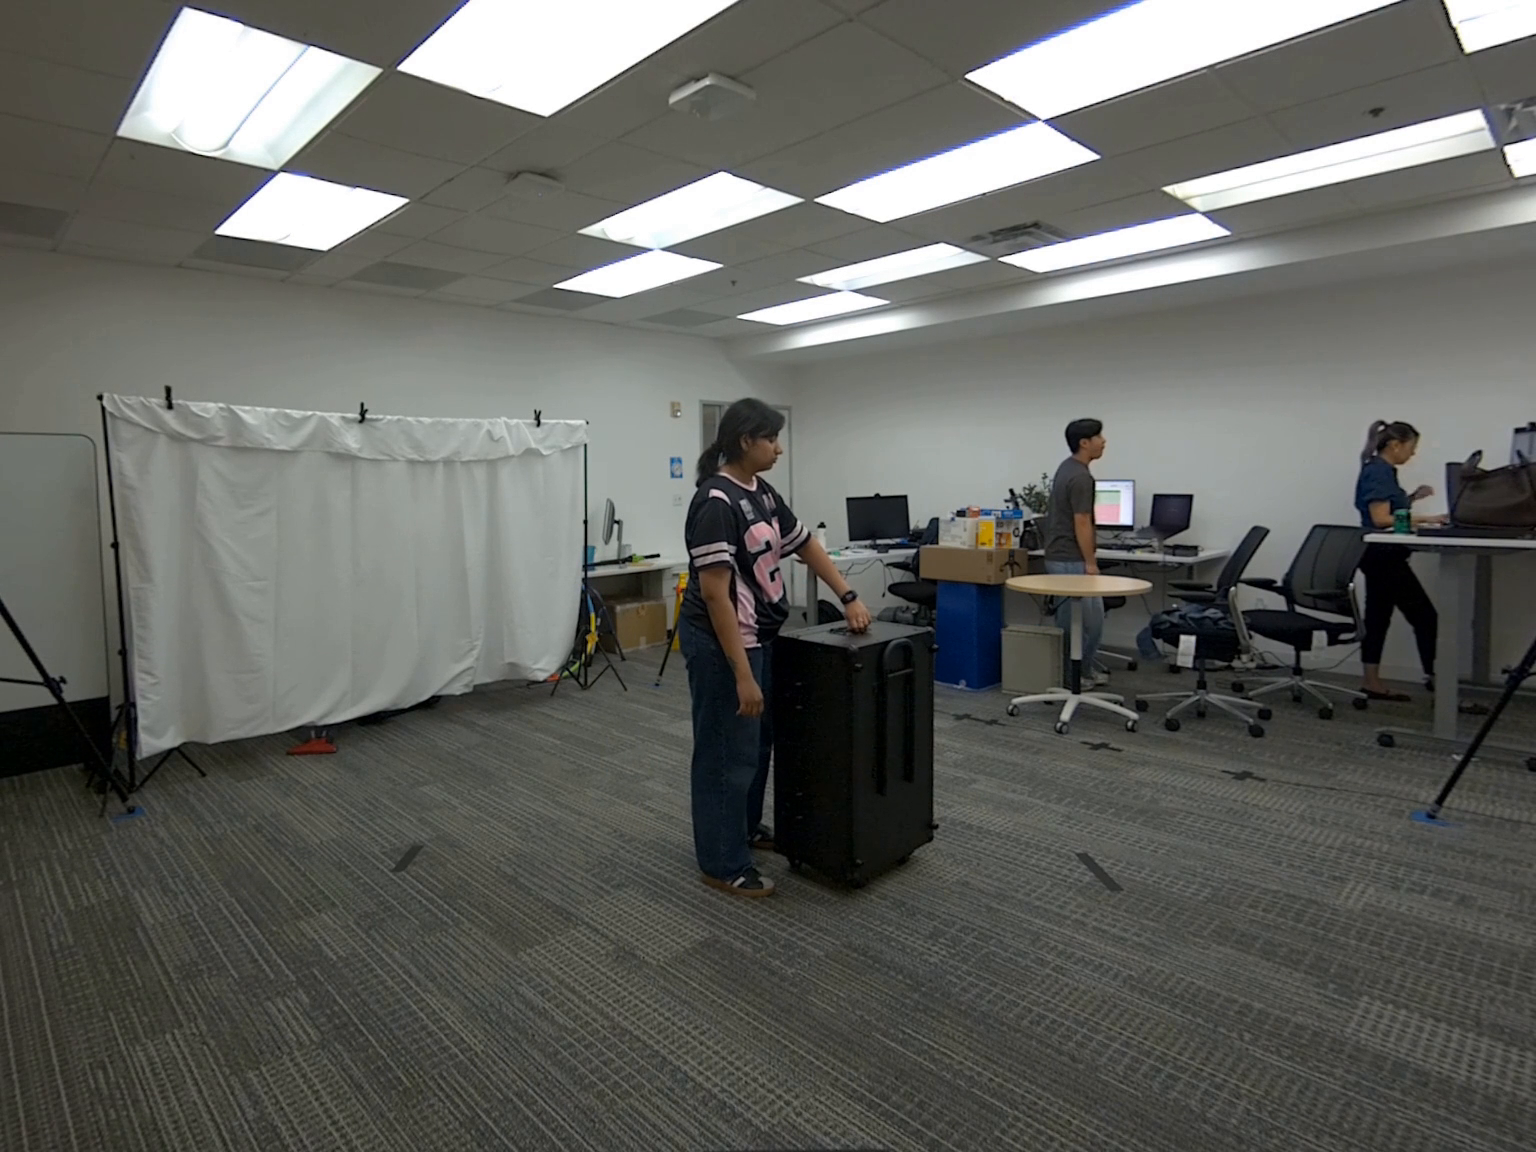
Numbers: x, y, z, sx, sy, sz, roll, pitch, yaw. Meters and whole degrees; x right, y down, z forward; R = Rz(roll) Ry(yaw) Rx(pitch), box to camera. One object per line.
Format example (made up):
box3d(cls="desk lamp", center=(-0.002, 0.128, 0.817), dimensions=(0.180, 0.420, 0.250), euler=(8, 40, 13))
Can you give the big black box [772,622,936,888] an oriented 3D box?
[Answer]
box3d(cls="big black box", center=(0.321, 0.623, 3.061), dimensions=(0.397, 0.865, 0.510), euler=(3, 6, 43))
